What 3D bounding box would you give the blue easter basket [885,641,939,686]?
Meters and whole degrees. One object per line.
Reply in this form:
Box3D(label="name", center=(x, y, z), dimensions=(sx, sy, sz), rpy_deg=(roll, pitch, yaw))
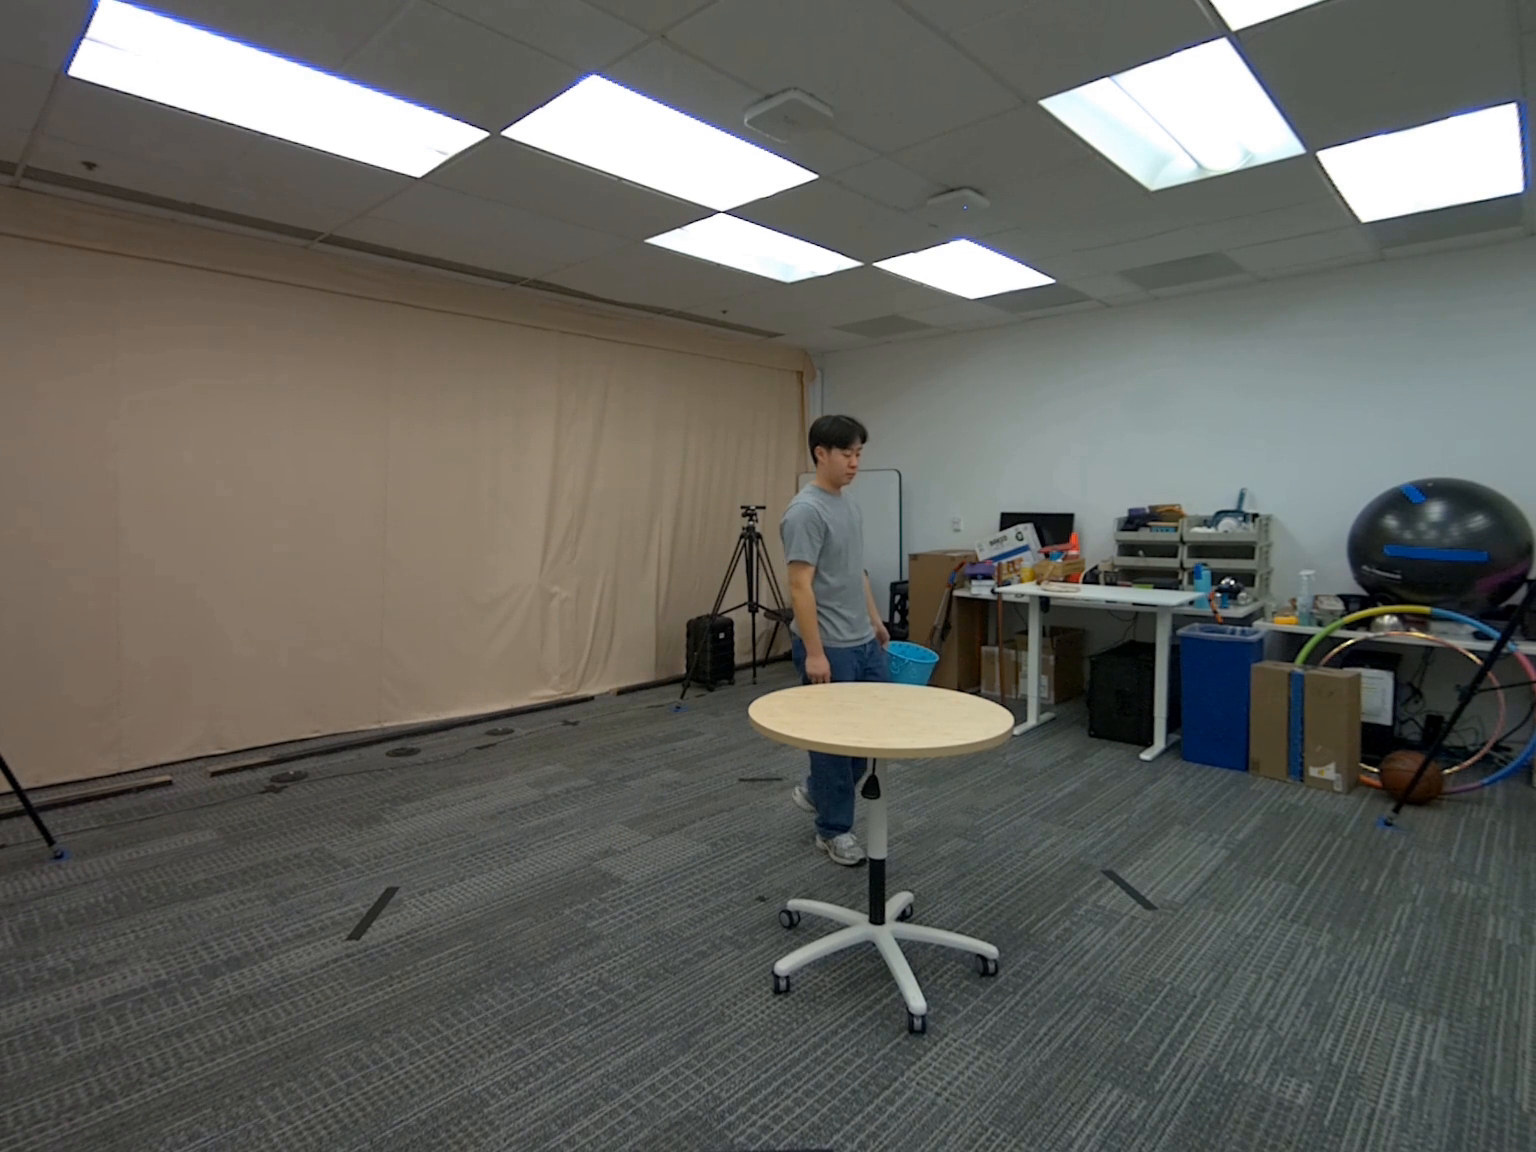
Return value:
Box3D(label="blue easter basket", center=(0.591, 0.386, 3.551), dimensions=(0.243, 0.155, 0.246), rpy_deg=(8, 12, -4))
